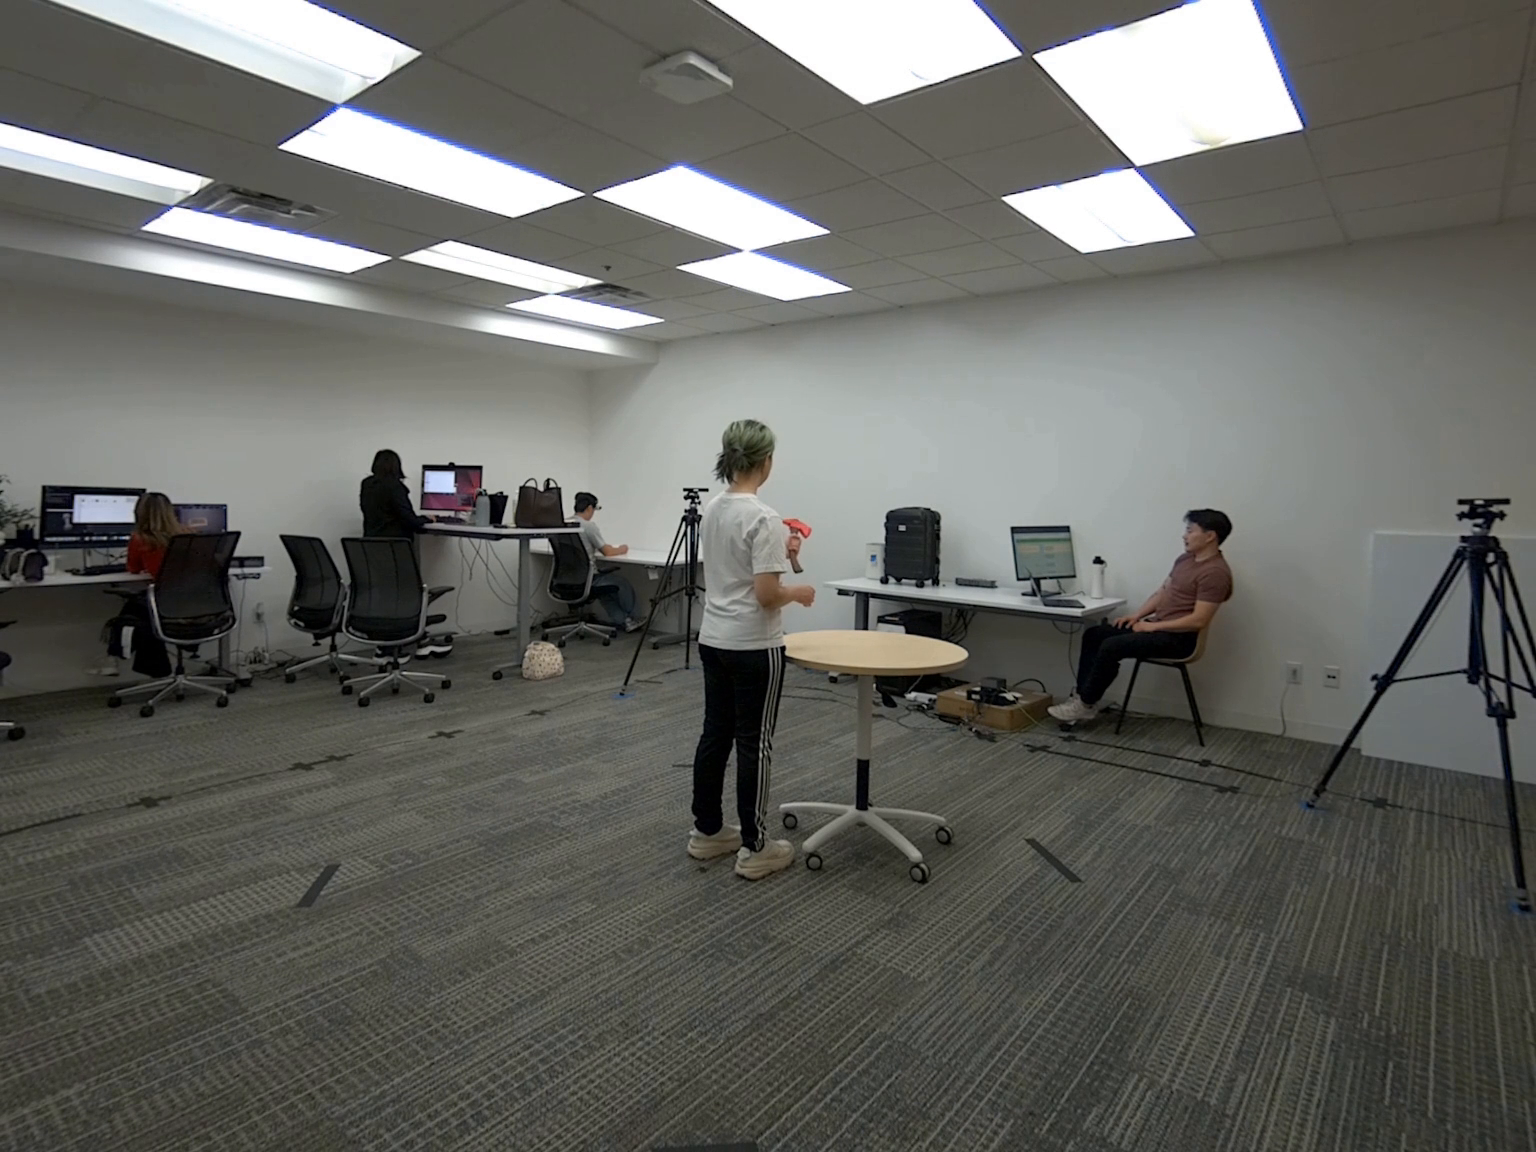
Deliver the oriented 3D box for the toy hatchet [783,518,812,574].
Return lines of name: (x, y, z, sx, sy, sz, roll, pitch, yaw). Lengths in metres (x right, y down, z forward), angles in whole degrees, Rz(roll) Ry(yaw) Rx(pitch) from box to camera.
toy hatchet: (0.131, -0.129, 3.438, 0.128, 0.279, 0.029, 2, -36, -20)
